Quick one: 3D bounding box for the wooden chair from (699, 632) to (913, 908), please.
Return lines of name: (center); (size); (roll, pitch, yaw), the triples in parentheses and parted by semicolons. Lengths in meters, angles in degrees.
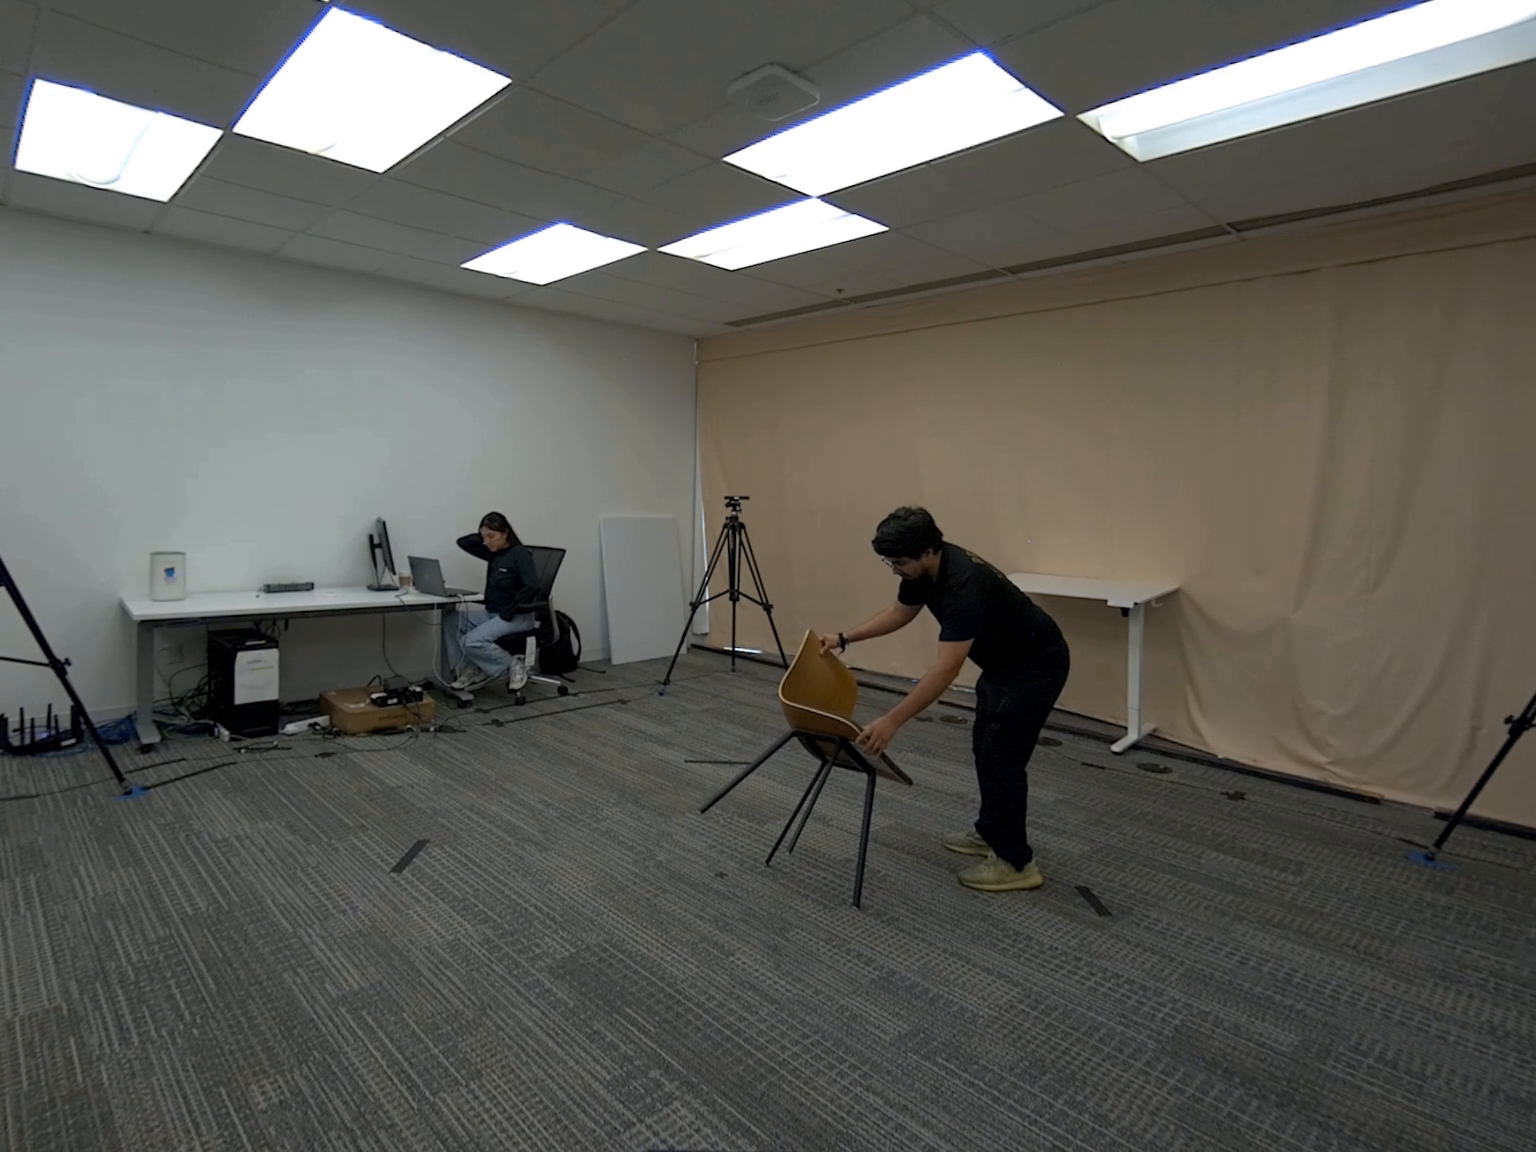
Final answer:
wooden chair: (0.234, 0.643, 3.060); (0.535, 0.883, 0.464); (0, -37, 44)
